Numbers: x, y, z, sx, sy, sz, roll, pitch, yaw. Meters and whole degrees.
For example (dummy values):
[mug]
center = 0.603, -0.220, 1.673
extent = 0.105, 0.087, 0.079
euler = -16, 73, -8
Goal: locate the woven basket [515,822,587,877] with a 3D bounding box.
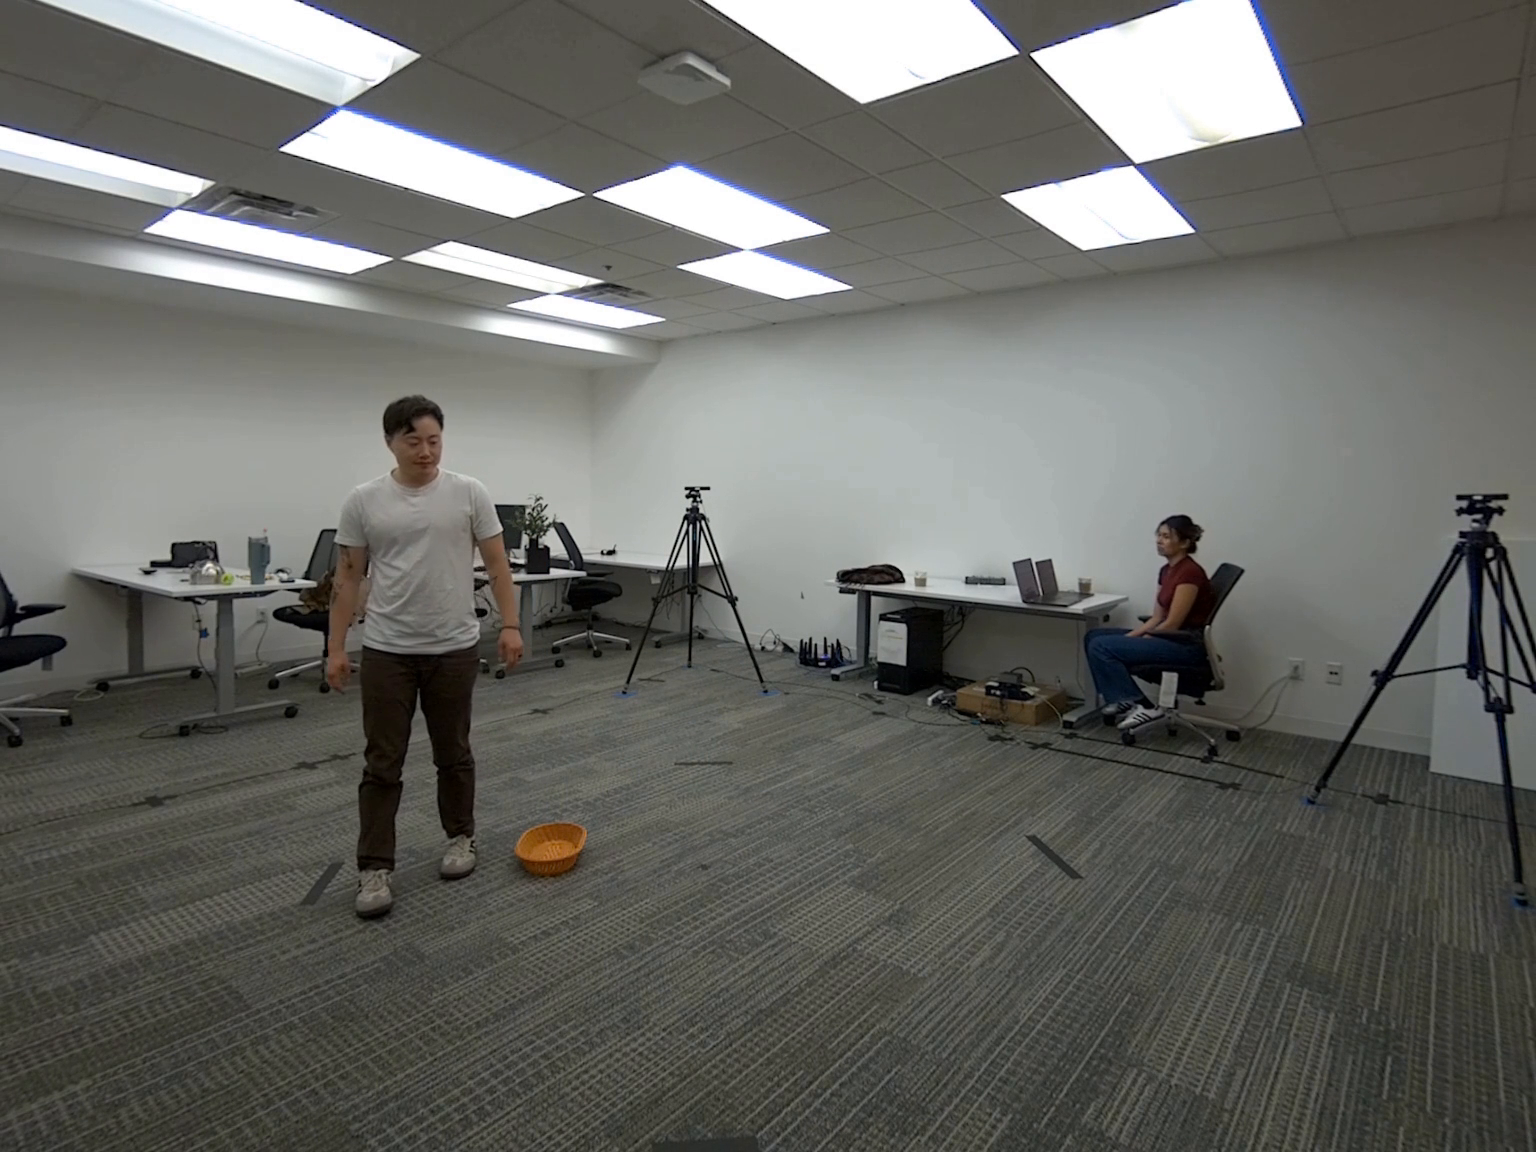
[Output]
[woven basket]
center = -0.817, 1.015, 3.159
extent = 0.253, 0.073, 0.351
euler = 0, 6, 0
